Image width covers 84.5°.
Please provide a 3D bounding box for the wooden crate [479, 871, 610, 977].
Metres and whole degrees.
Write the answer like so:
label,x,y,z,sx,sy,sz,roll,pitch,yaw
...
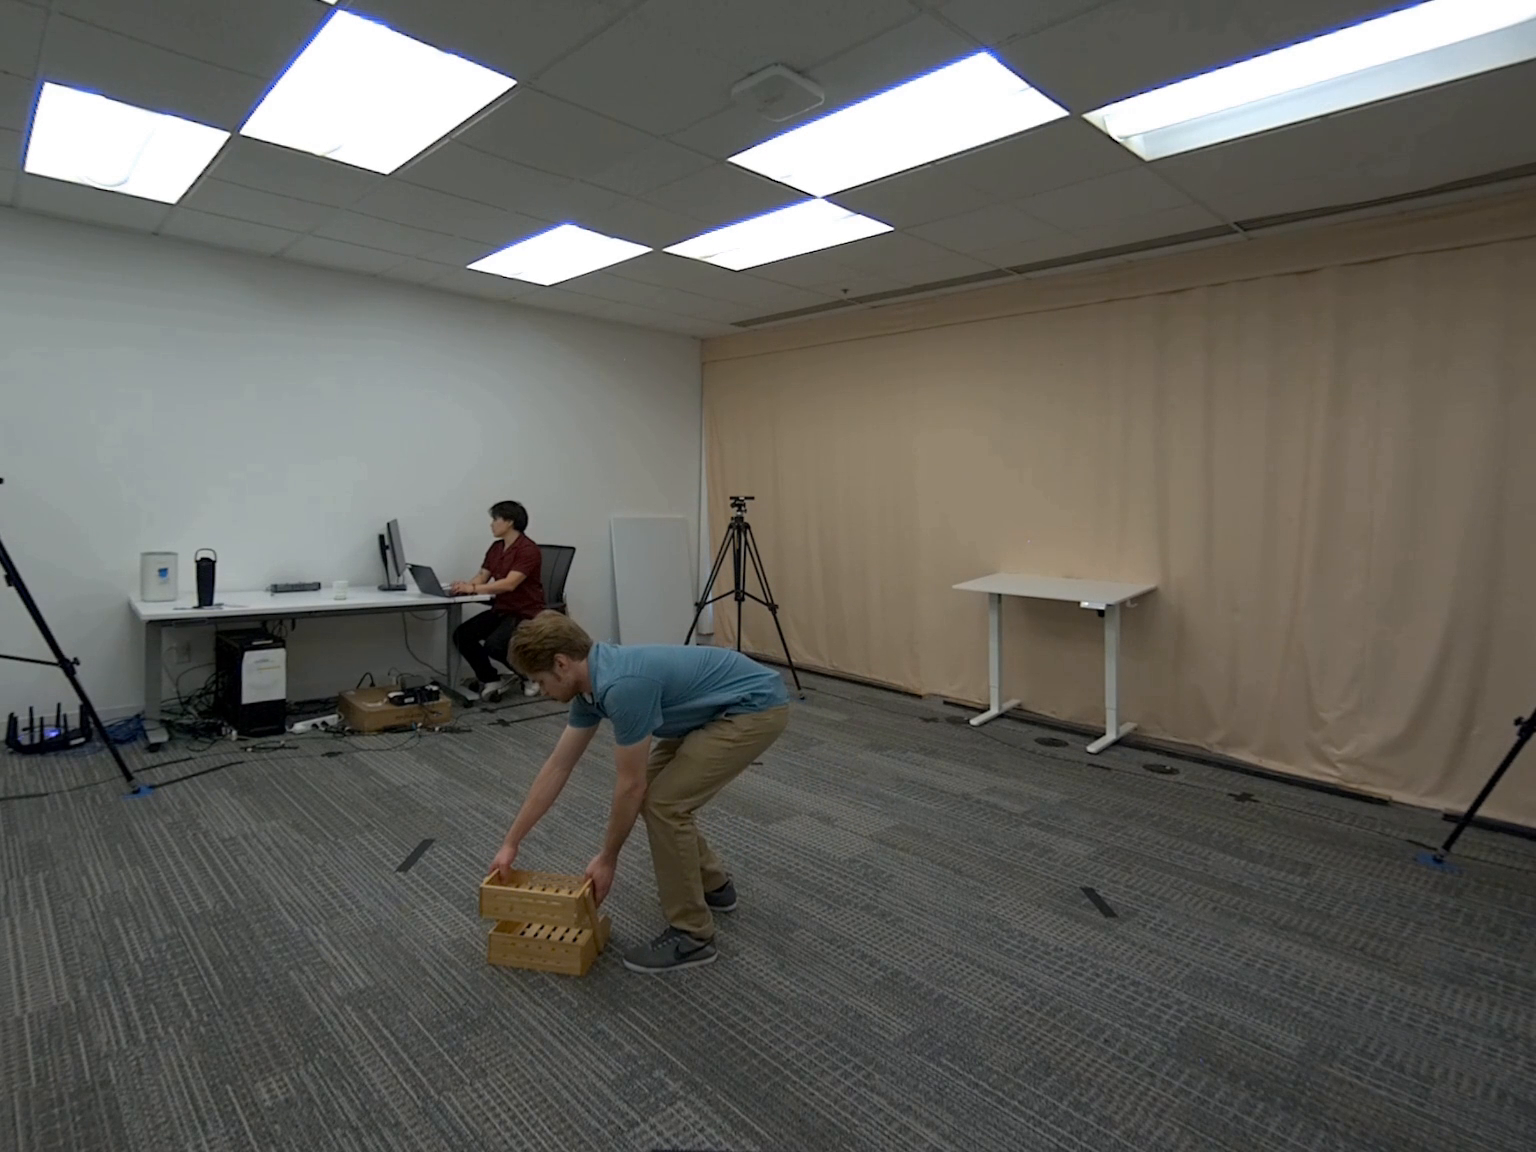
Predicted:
label,x,y,z,sx,sy,sz,roll,pitch,yaw
wooden crate,-0.671,1.013,2.546,0.327,0.272,0.301,2,6,8
